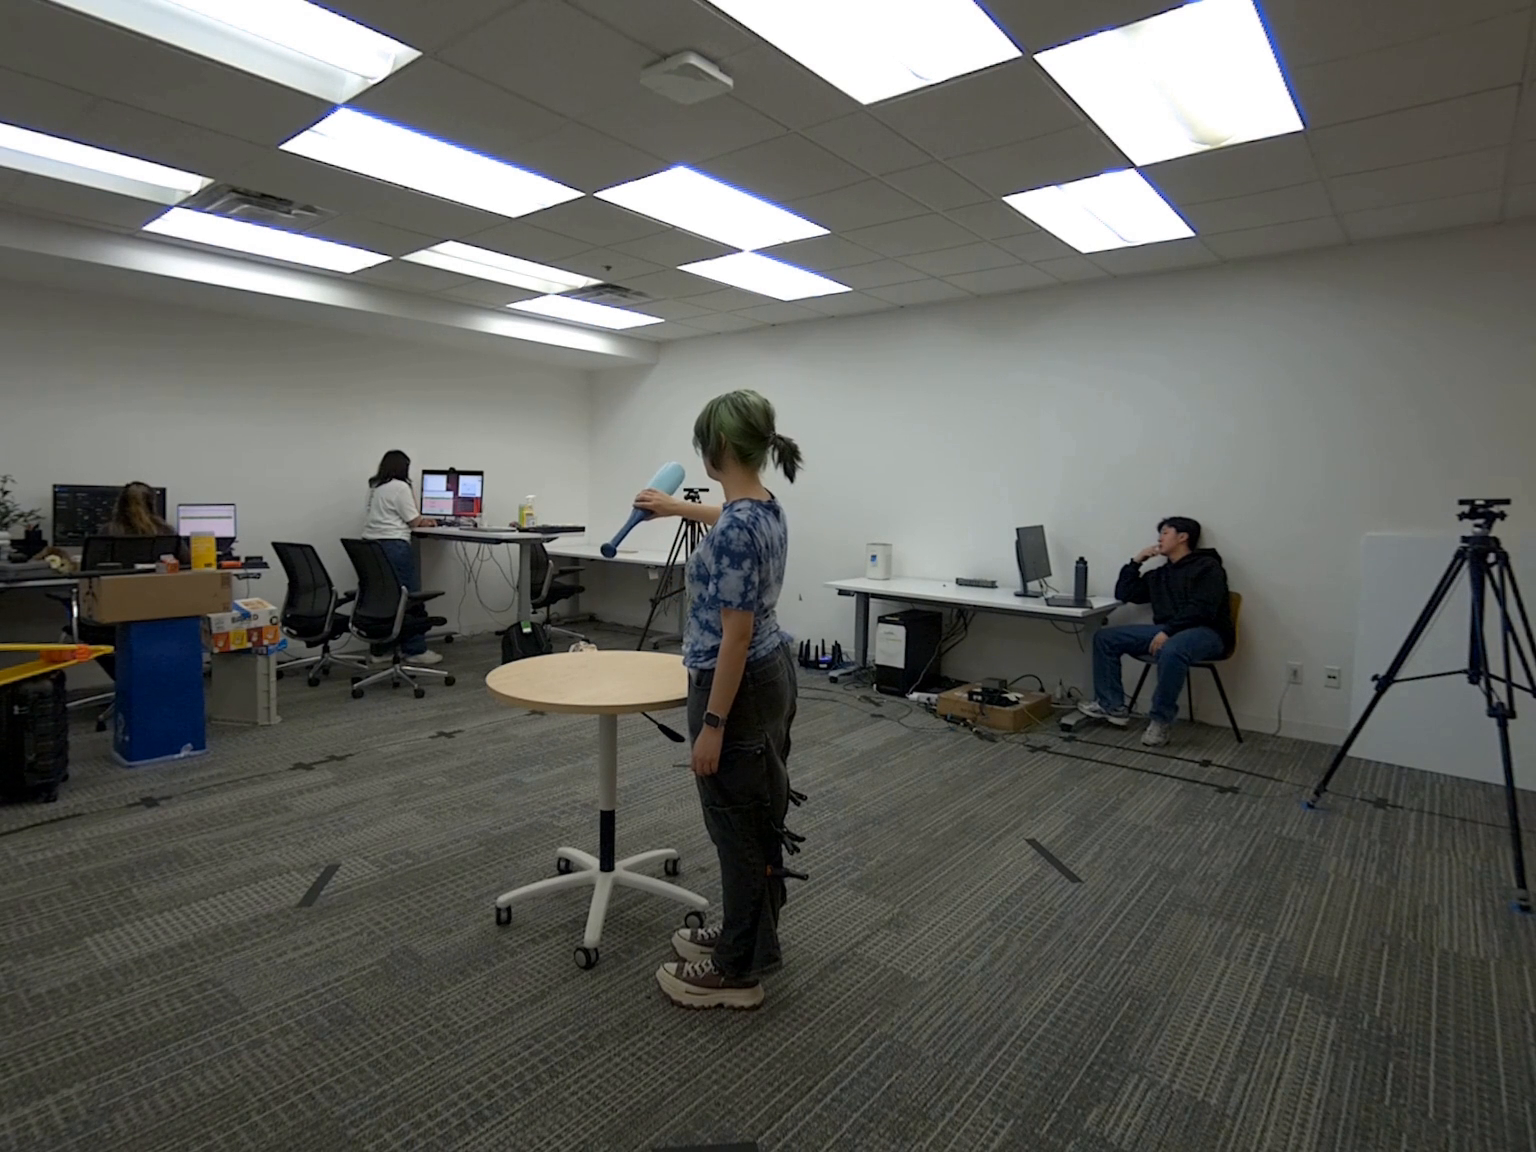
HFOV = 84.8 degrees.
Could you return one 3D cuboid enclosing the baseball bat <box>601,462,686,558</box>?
[{"bbox_3d":[-0.397,-0.210,2.704,0.091,0.086,0.549,1,35,17],"label":"baseball bat"}]
